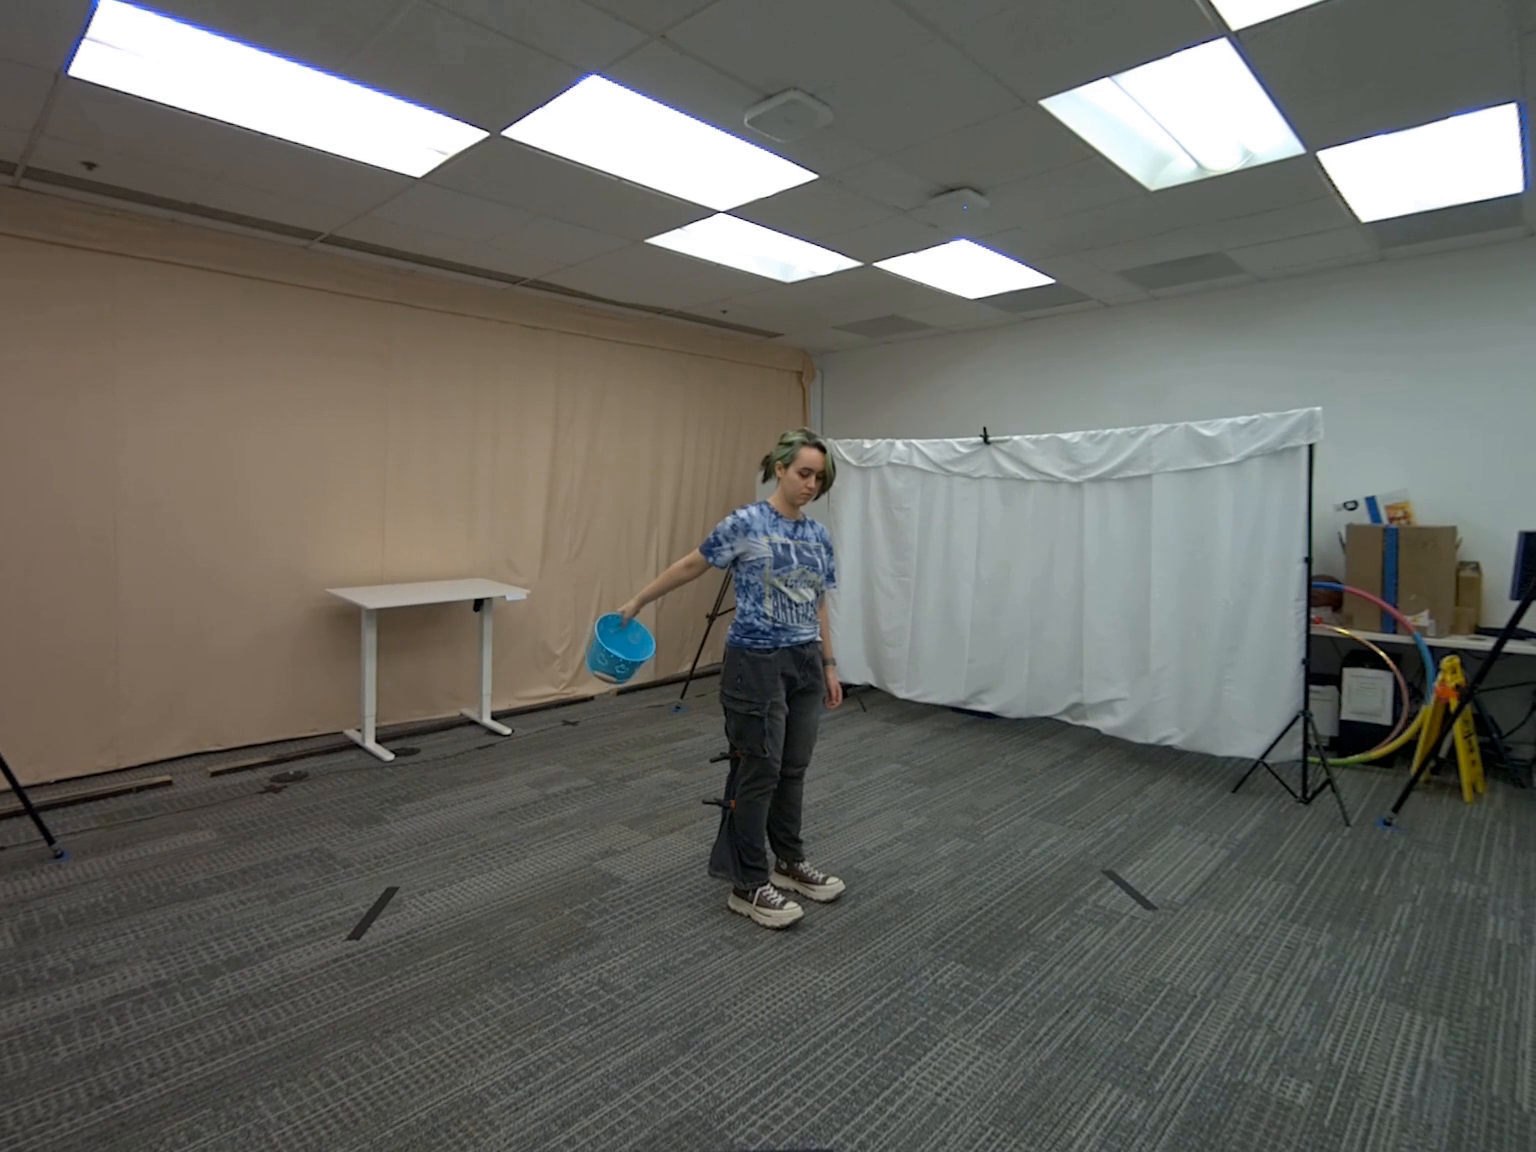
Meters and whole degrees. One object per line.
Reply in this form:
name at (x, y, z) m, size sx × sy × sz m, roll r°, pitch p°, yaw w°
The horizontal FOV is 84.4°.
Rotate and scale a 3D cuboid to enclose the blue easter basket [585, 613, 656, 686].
blue easter basket at (-0.529, 0.285, 2.991) m, size 0.239 × 0.156 × 0.248 m, roll 22°, pitch 29°, yaw -15°
